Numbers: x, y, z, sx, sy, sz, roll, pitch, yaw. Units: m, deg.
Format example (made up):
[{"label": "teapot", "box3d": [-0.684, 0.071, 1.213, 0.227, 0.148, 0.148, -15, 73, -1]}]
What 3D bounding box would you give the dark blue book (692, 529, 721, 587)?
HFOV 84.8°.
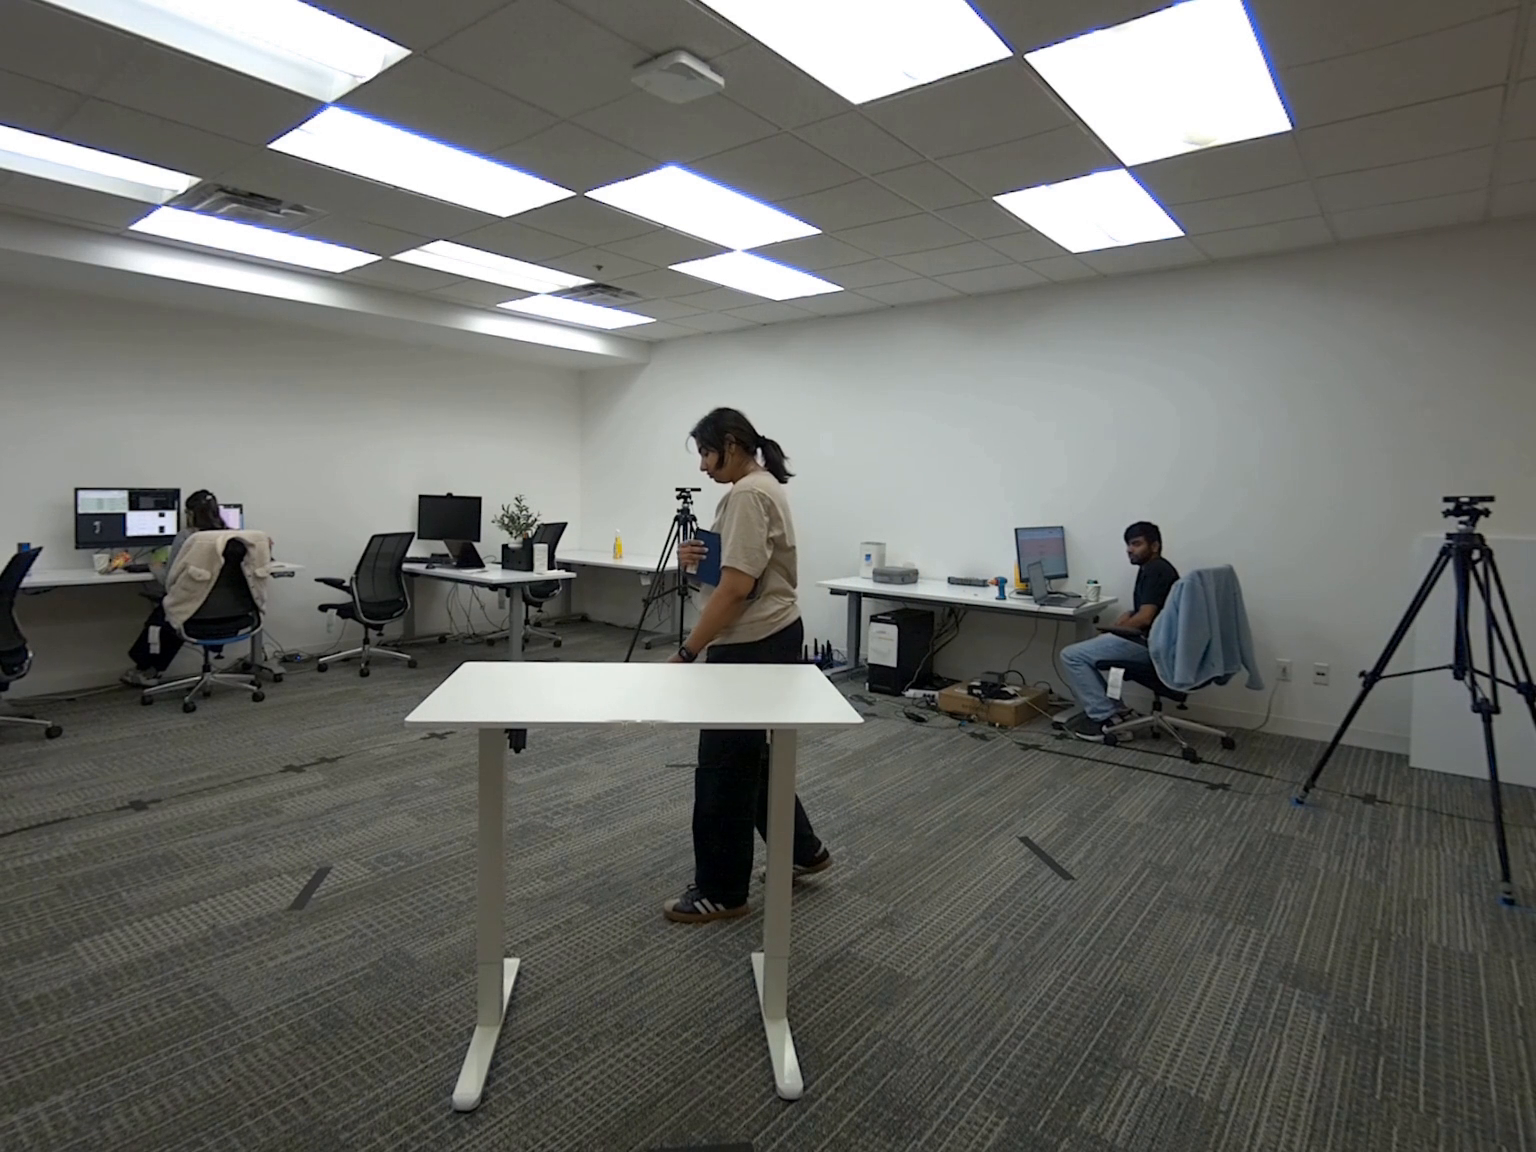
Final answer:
[{"label": "dark blue book", "box3d": [-0.138, -0.047, 2.688, 0.249, 0.163, 0.044, 18, 2, 12]}]
